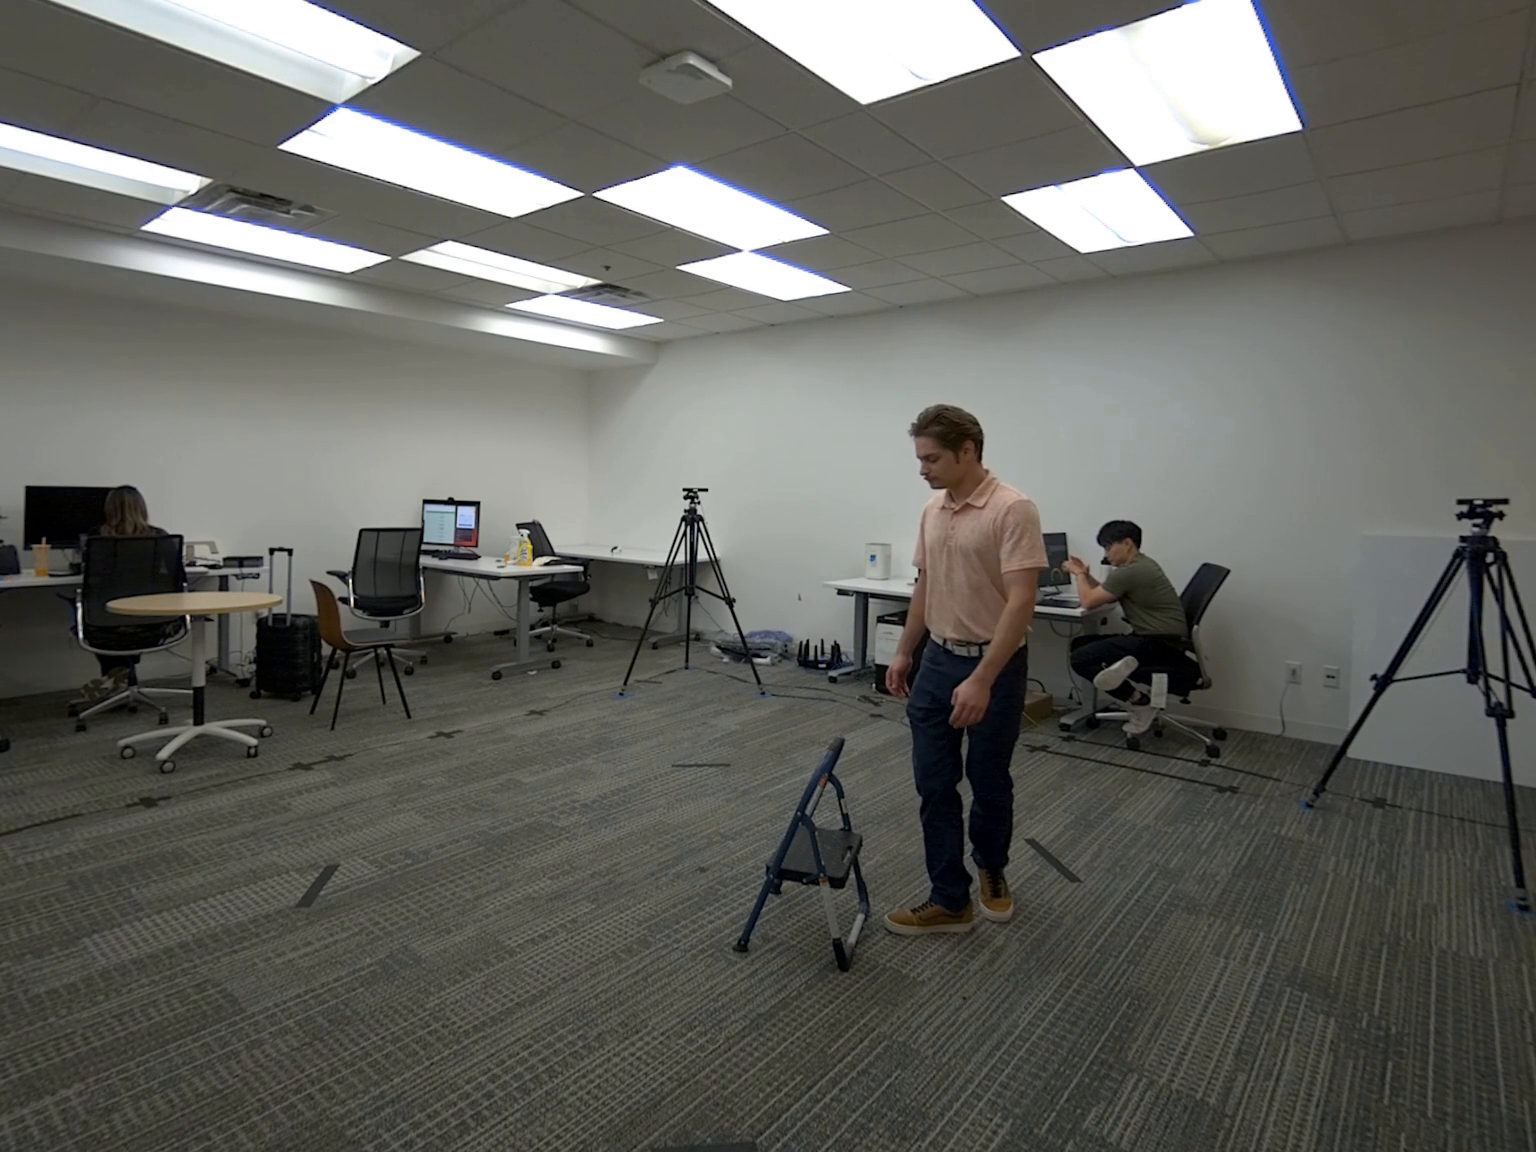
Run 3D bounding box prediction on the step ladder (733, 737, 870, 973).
[{"bbox_3d":[0.122,0.817,2.687,0.356,0.604,0.424,2,4,17],"label":"step ladder"}]
